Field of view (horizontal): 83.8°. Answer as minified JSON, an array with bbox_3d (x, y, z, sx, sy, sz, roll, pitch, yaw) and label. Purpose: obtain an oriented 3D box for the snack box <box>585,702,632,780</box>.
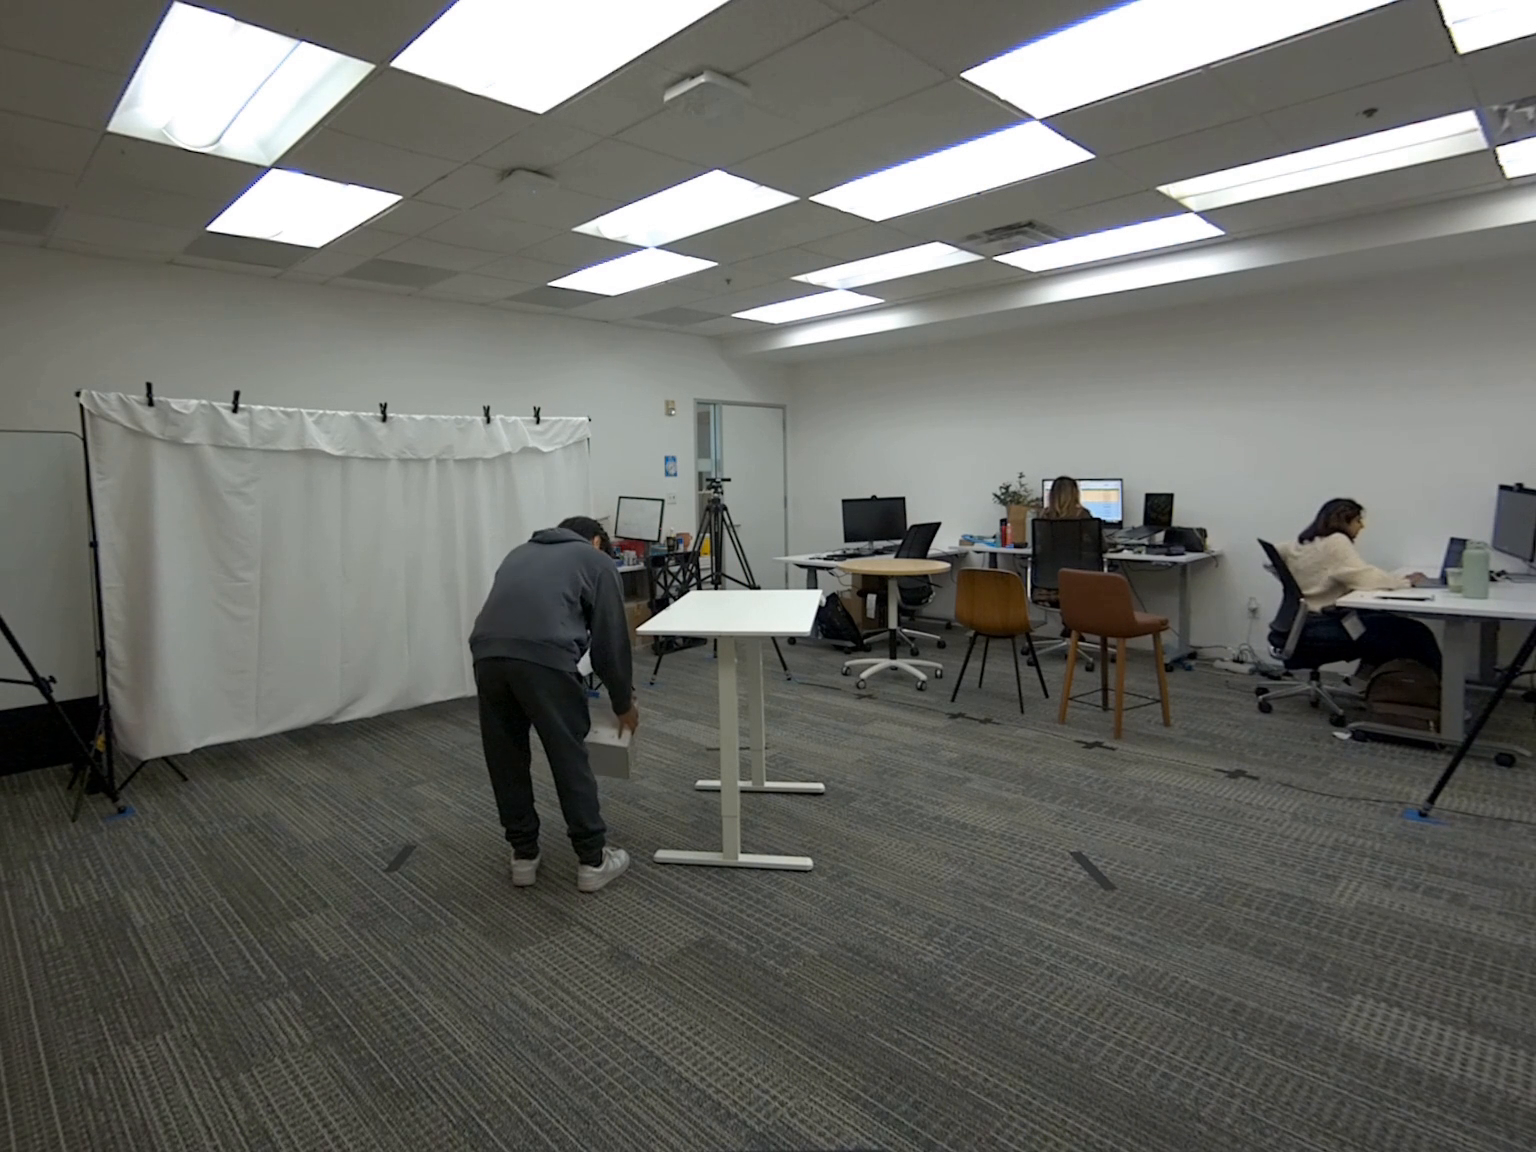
[{"bbox_3d":[-0.701,0.630,3.411,0.340,0.210,0.397,8,-31,-1],"label":"snack box"}]
